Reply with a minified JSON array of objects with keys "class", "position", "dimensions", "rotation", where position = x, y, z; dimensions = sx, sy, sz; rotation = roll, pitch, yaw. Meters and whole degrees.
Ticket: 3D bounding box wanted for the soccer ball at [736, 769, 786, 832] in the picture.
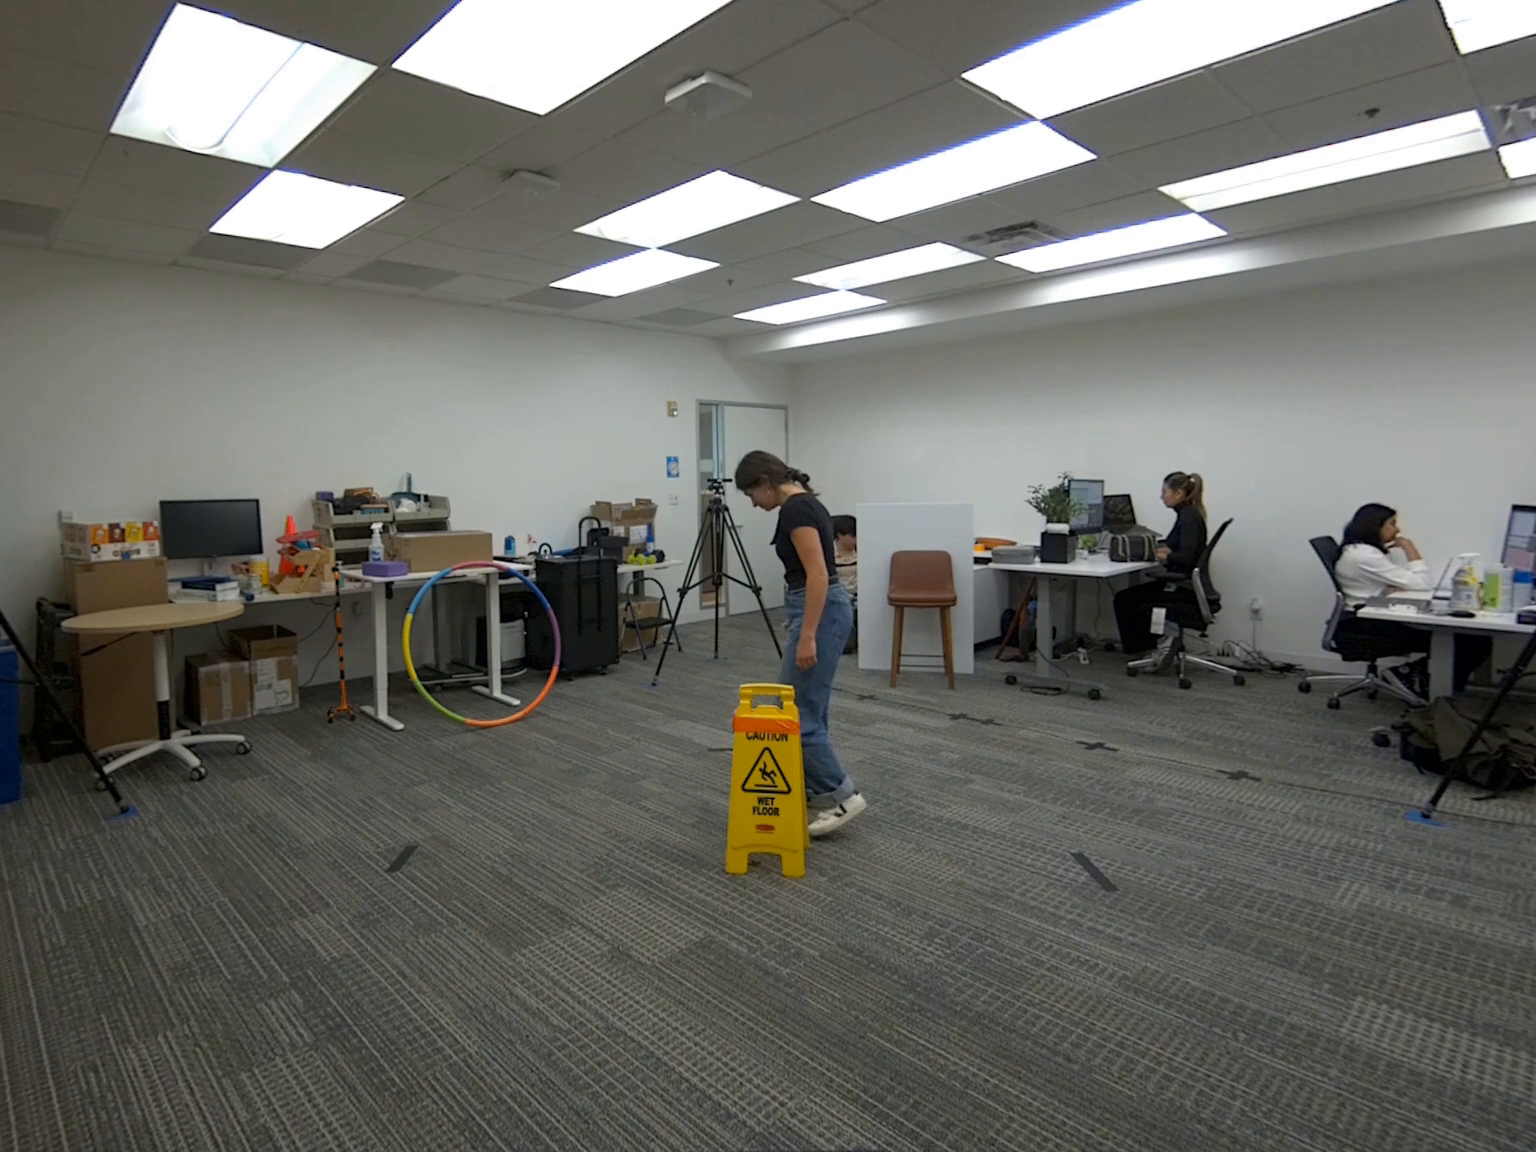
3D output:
[{"class":"soccer ball","position":[-0.032,0.911,3.496],"dimensions":[0.187,0.187,0.188],"rotation":[-1,5,-2]}]
